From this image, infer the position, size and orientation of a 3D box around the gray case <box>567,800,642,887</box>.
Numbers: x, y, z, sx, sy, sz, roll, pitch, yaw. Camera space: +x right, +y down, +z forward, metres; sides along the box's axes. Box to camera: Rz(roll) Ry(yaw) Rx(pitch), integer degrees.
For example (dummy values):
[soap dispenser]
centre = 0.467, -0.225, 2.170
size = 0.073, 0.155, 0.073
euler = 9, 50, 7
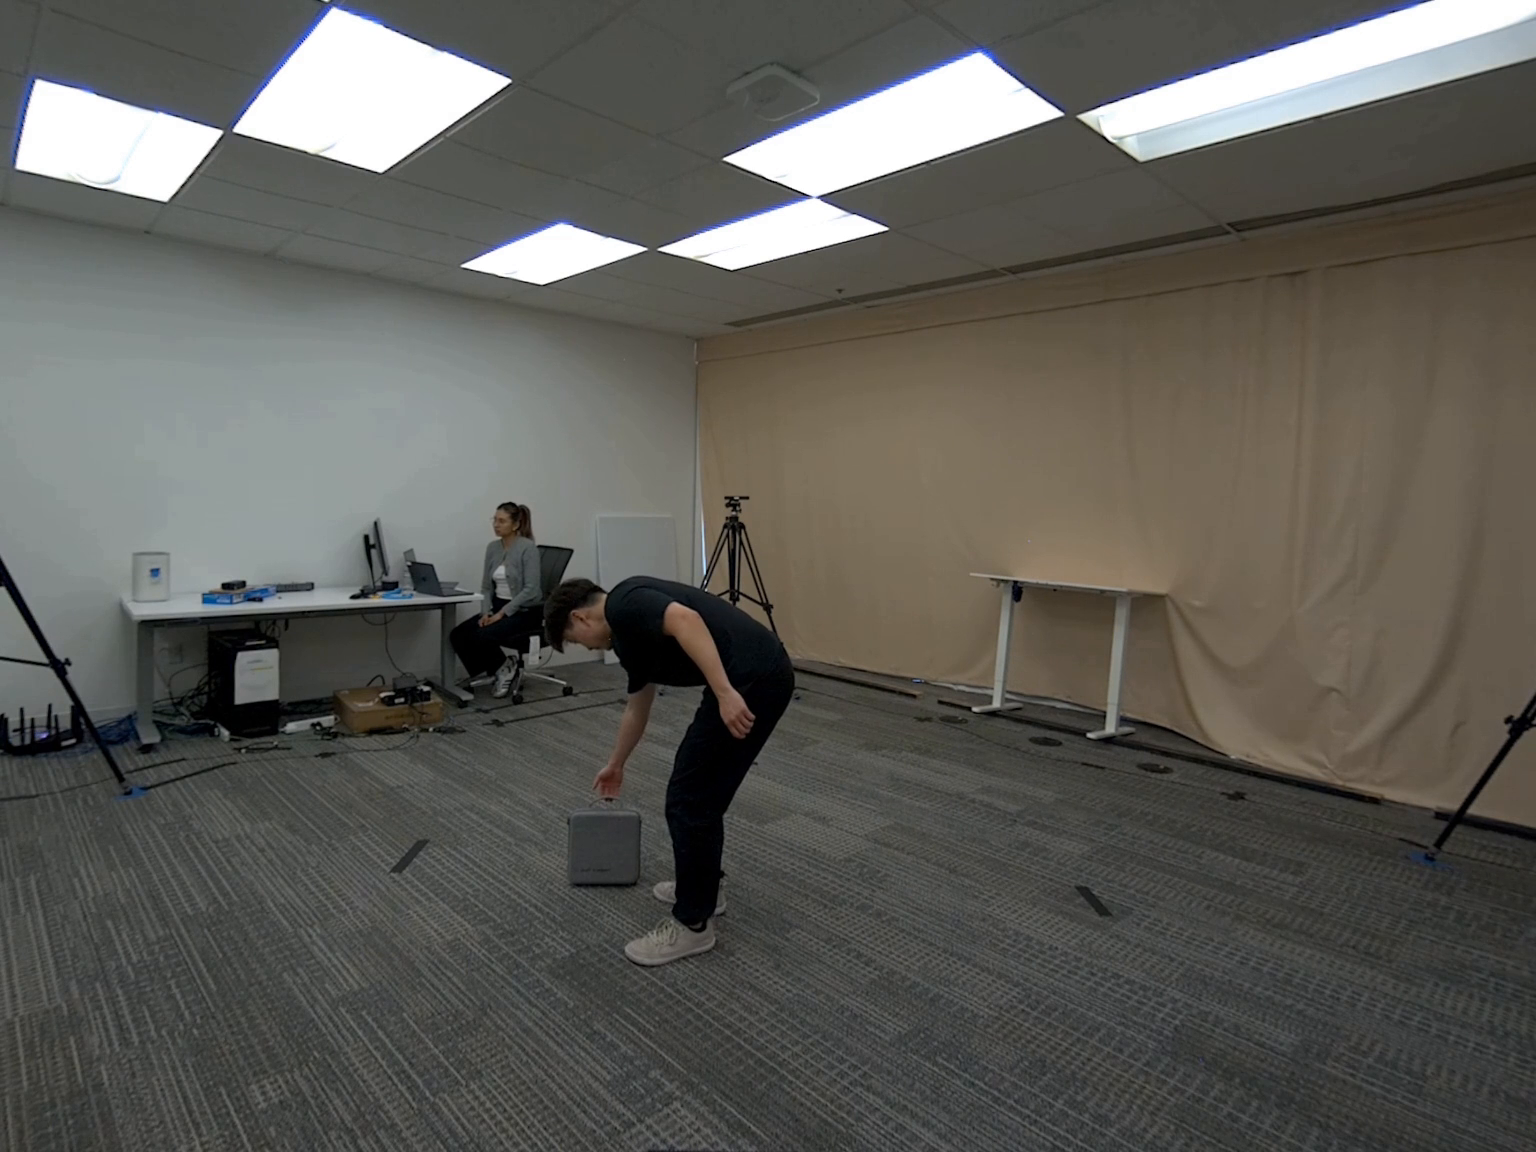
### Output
[gray case]
centre = -0.597, 0.968, 3.035
size = 0.256, 0.261, 0.104
euler = 1, -5, -4
